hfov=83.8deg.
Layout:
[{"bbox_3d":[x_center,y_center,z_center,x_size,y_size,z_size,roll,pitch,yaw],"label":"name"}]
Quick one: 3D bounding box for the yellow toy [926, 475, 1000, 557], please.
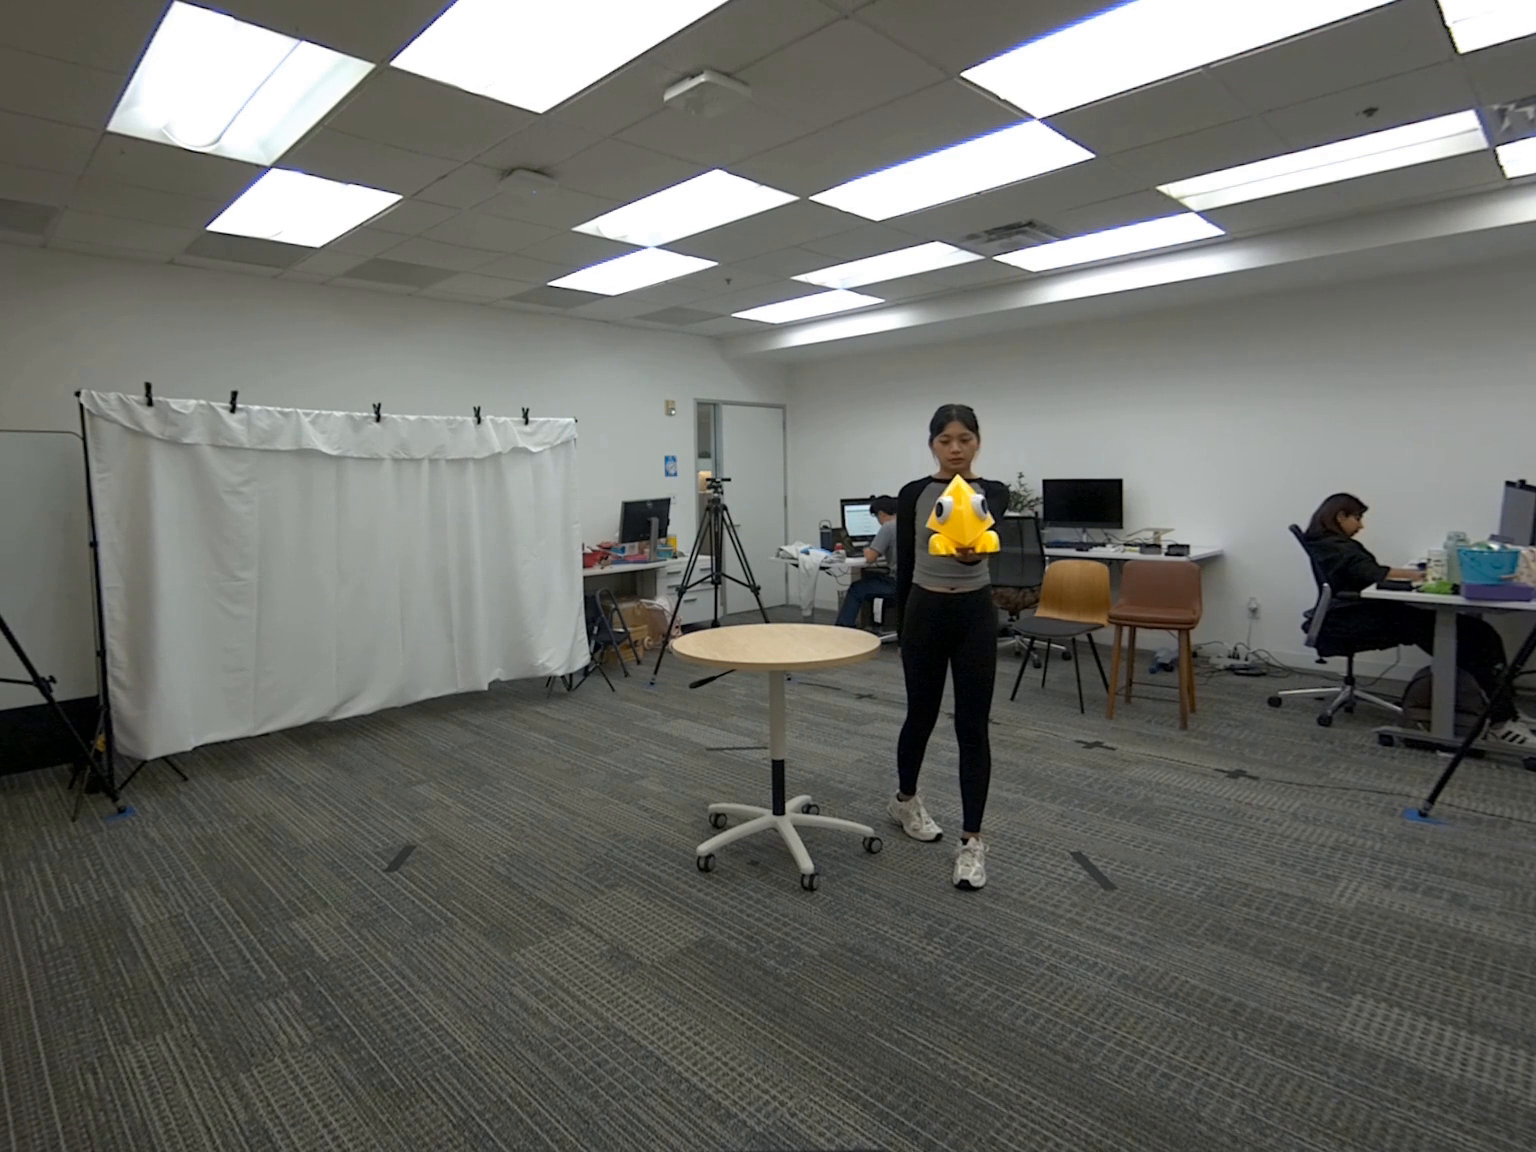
[{"bbox_3d":[0.582,-0.185,2.532,0.207,0.230,0.192,-3,3,9],"label":"yellow toy"}]
